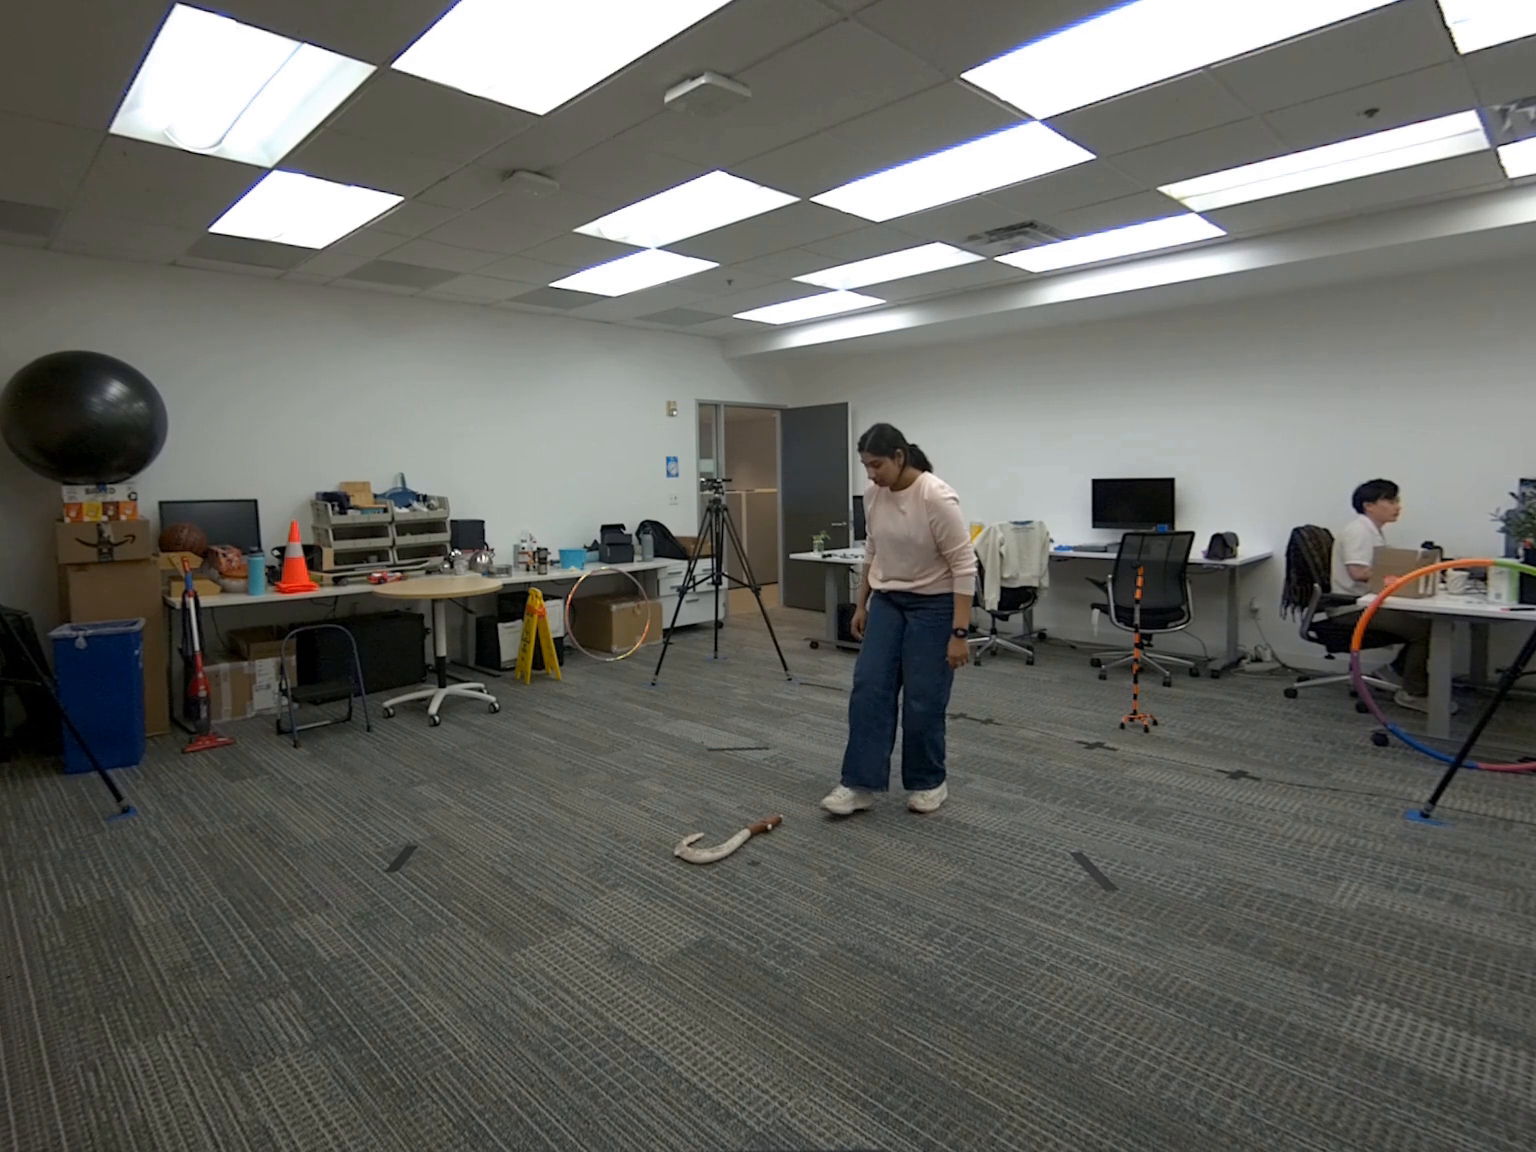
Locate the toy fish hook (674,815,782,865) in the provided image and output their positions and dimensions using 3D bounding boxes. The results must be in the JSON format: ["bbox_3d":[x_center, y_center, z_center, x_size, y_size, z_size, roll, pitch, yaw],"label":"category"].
[{"bbox_3d":[-0.151,1.000,3.310,0.232,0.048,0.493,6,9,41],"label":"toy fish hook"}]
